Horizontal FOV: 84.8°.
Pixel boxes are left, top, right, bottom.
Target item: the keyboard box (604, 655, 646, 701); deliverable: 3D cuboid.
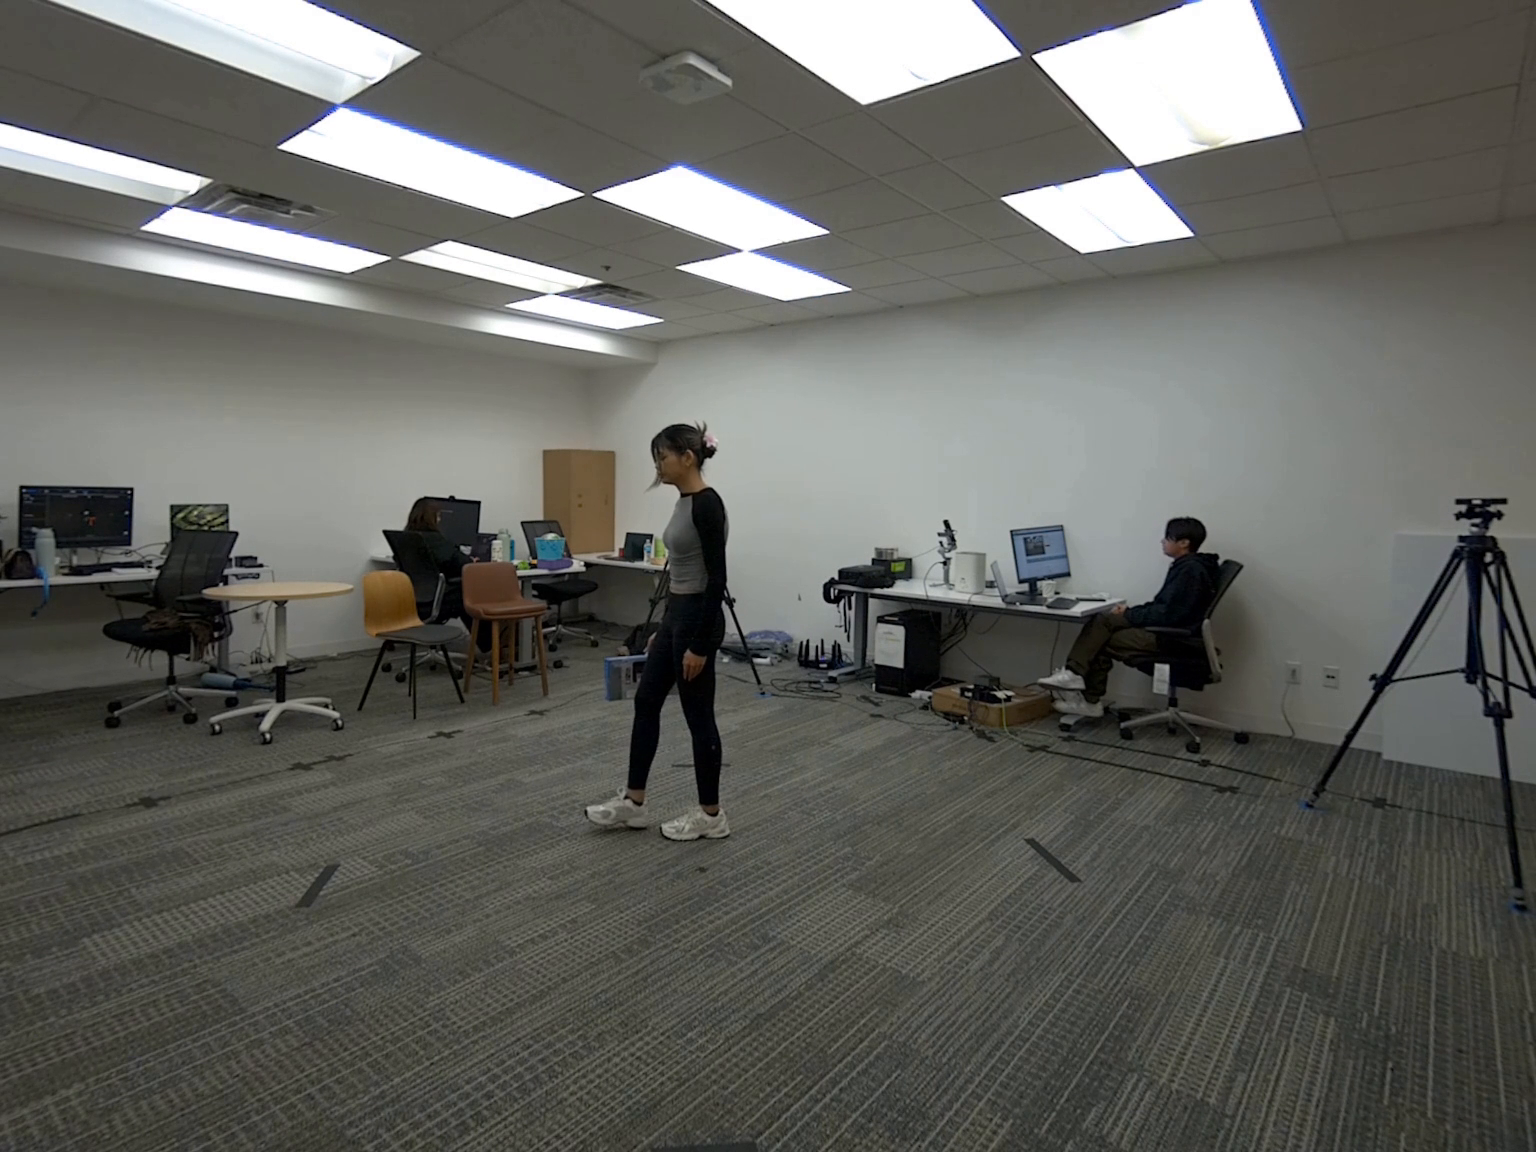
[{"bbox_3d":[-0.486,0.416,3.600,0.427,0.175,0.060,-3,3,-24],"label":"keyboard box"}]
